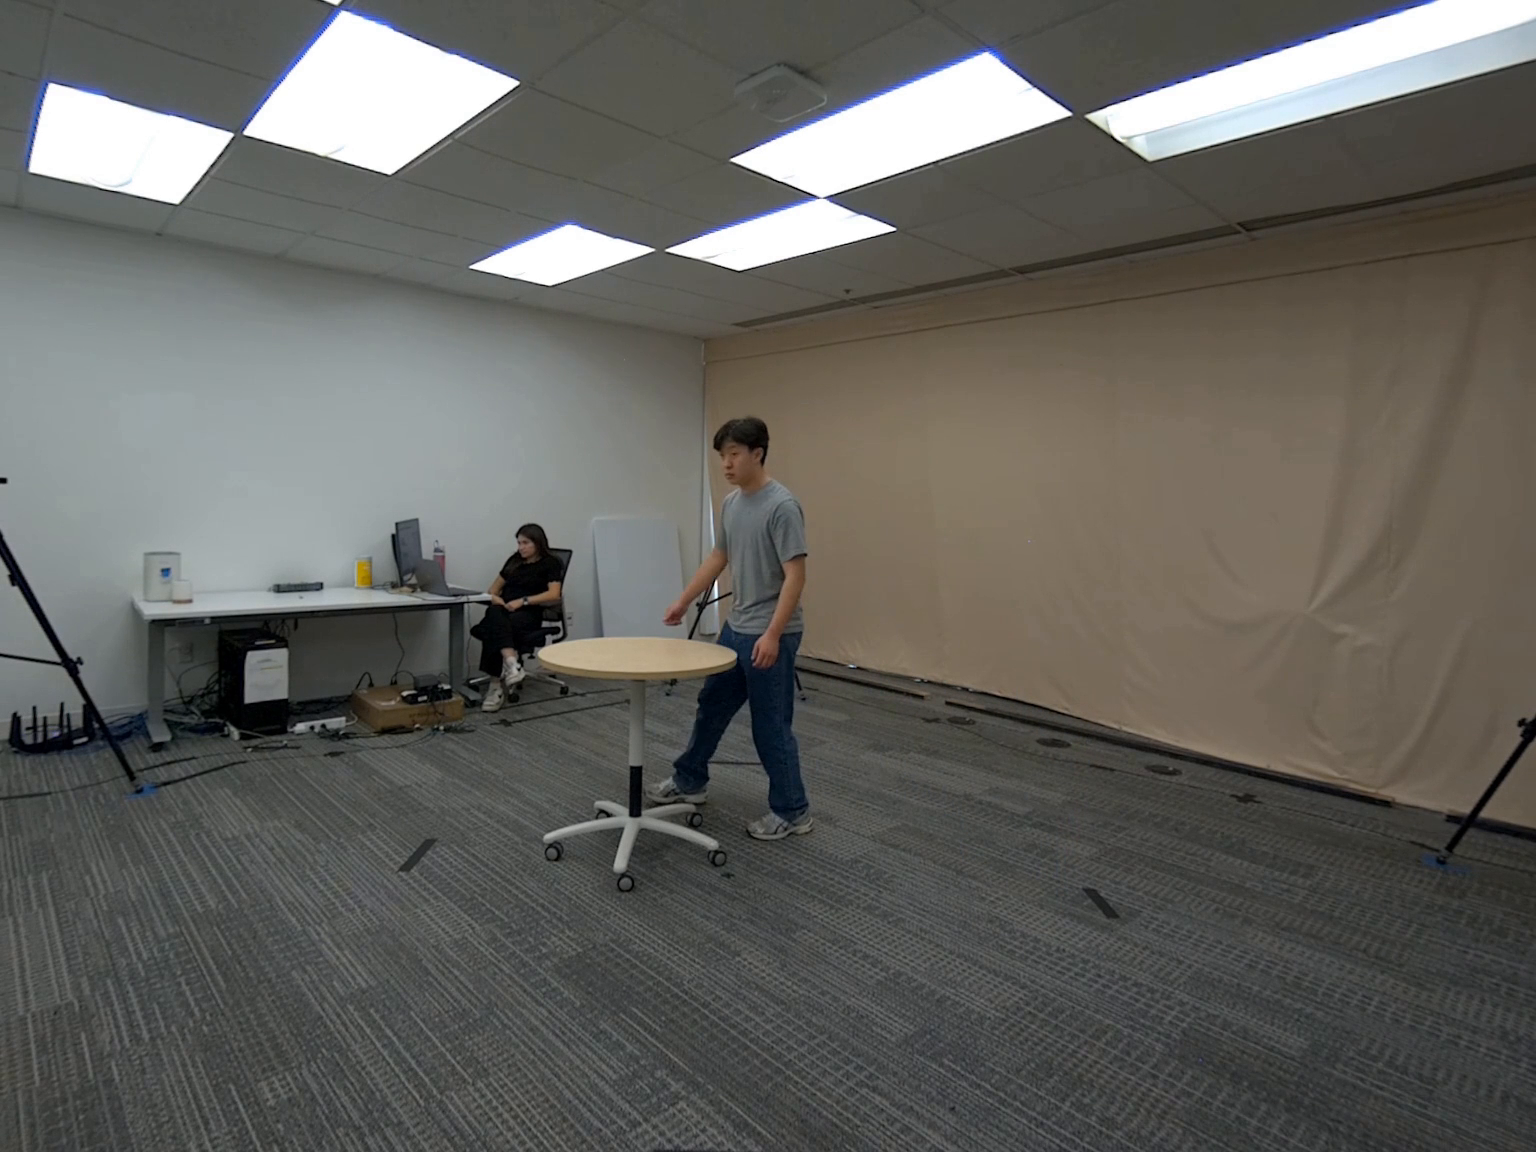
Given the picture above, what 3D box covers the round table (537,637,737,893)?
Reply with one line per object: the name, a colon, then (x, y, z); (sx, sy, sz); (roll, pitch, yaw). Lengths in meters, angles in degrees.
round table: (-0.521, 0.691, 3.277); (0.763, 0.792, 0.766); (1, 4, -1)
